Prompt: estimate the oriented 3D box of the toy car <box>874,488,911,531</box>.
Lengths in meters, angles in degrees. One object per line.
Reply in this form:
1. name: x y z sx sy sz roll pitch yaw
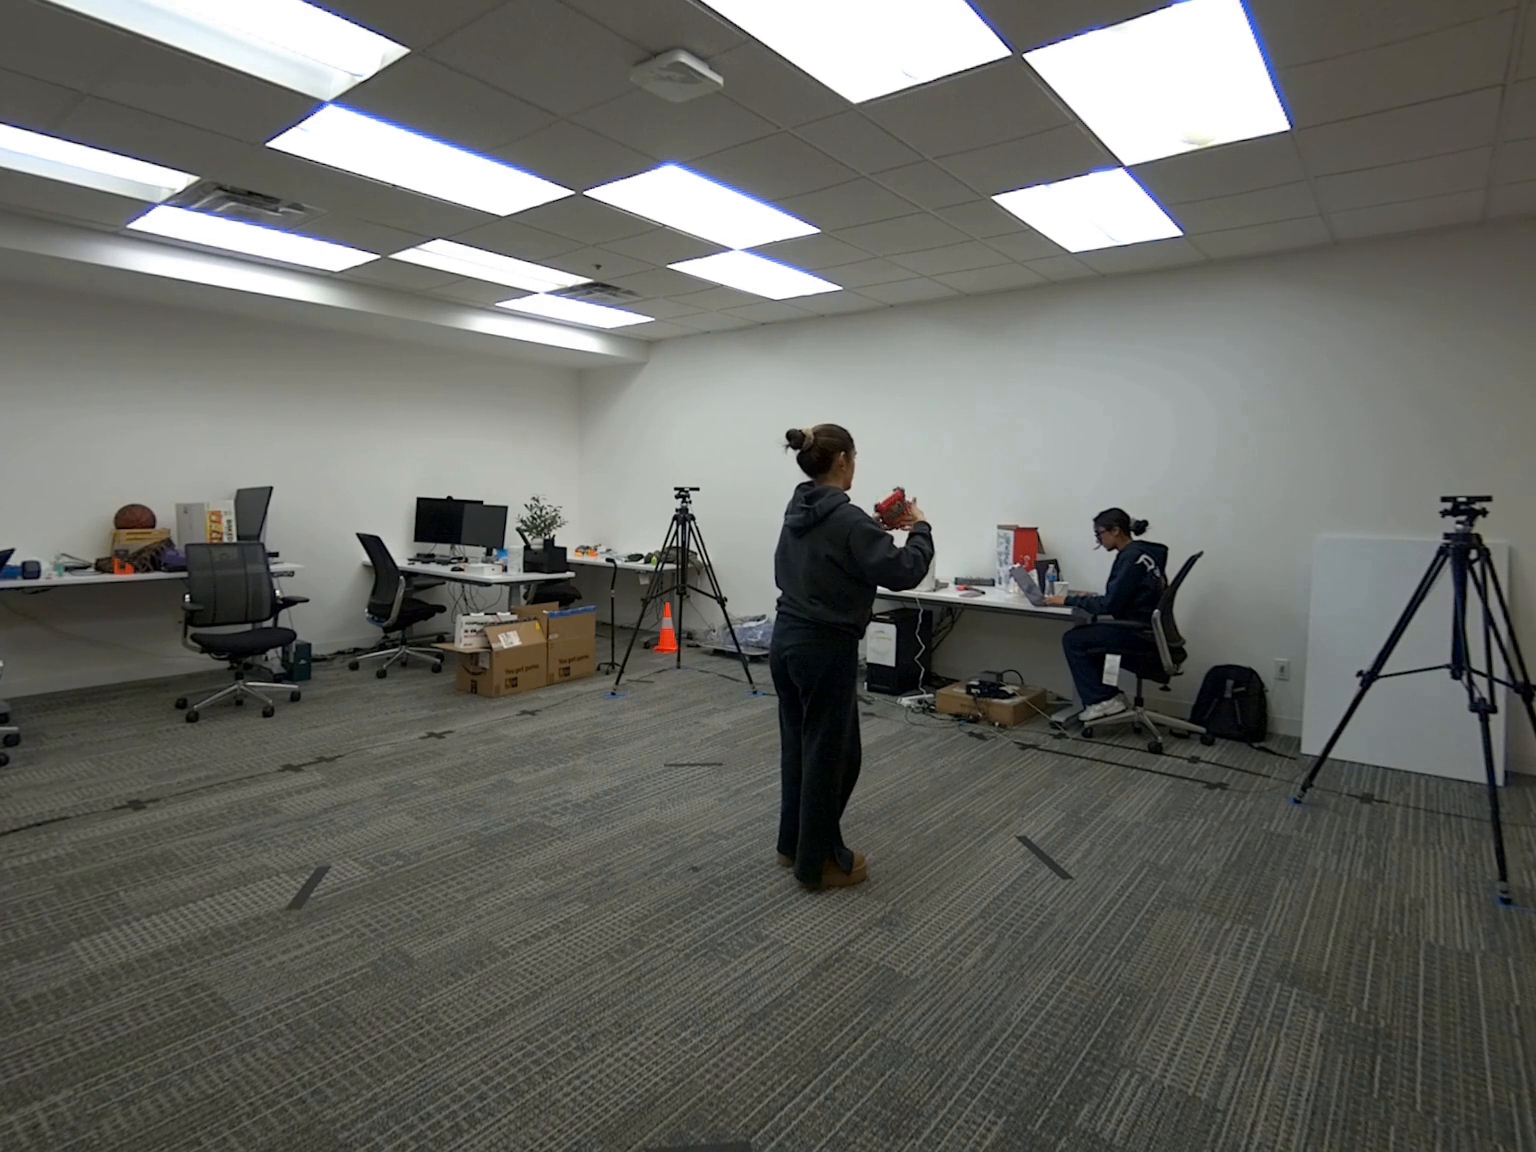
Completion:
1. toy car: 0.455 -0.240 3.088 0.130 0.086 0.244 -39 -34 5
